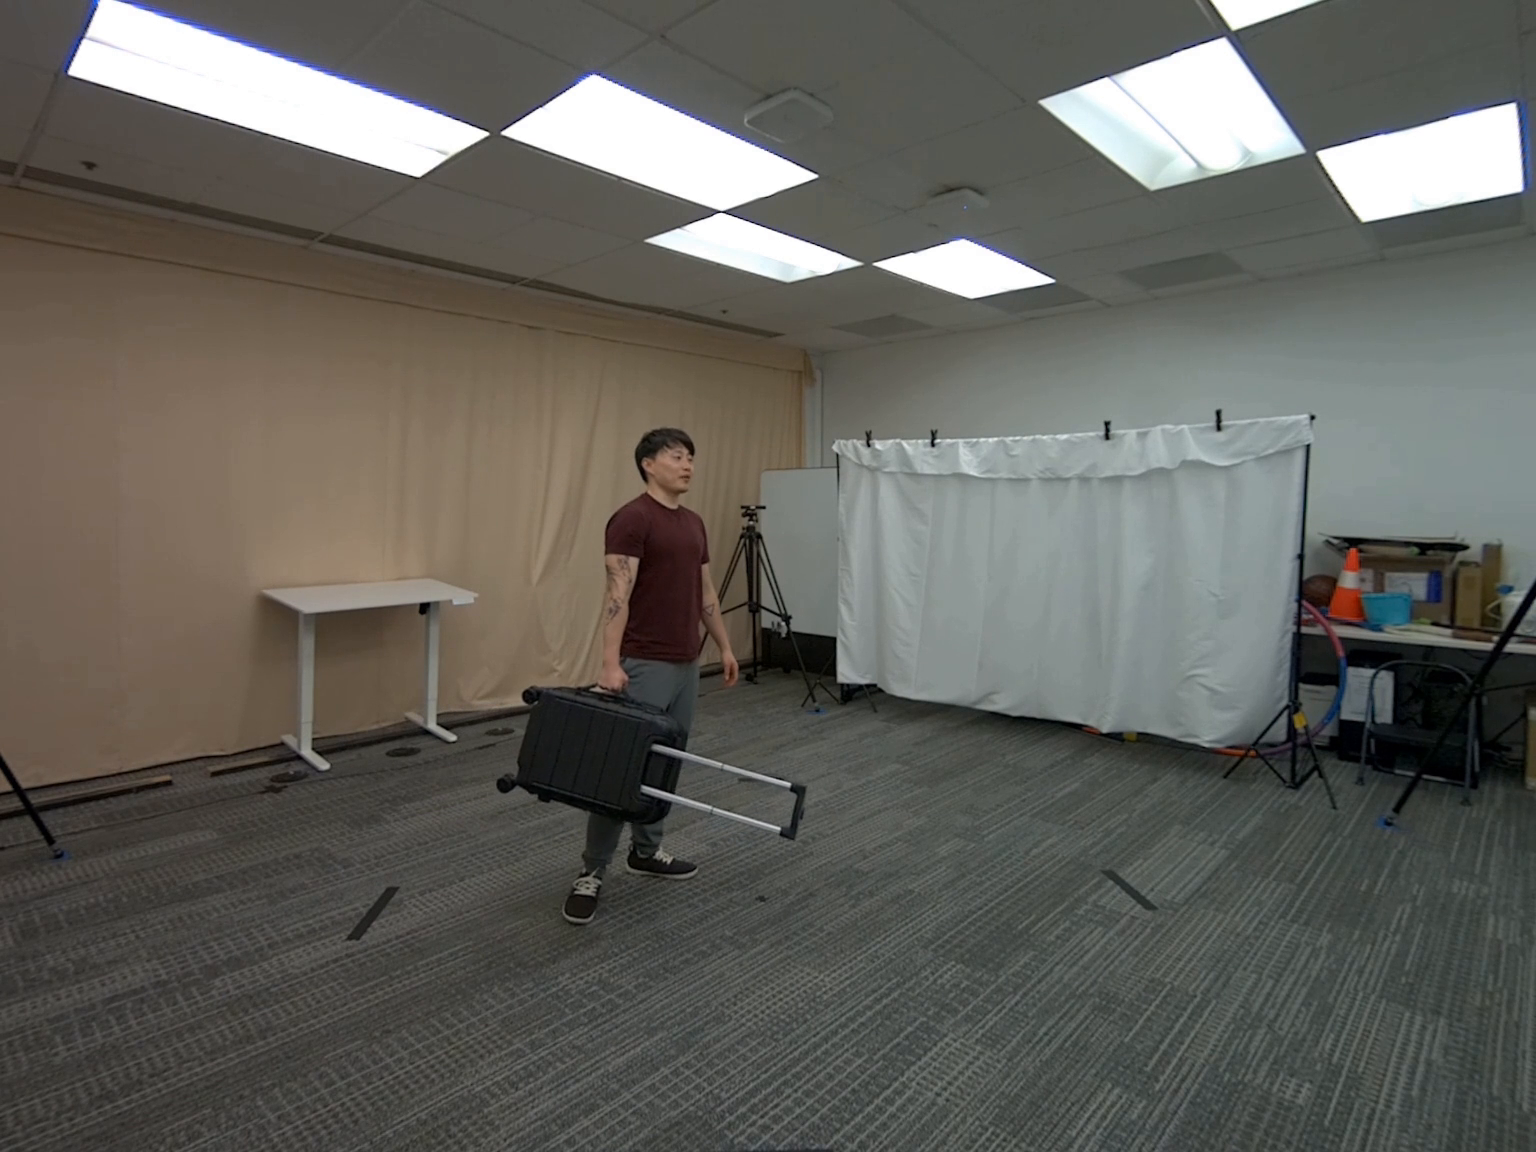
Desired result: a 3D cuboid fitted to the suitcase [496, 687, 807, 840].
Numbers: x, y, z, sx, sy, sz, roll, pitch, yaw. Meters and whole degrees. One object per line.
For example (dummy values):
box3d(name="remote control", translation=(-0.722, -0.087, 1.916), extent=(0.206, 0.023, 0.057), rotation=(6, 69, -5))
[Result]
box3d(name="suitcase", translation=(-0.355, 0.620, 2.717), extent=(0.995, 0.385, 0.252), rotation=(10, -10, 14))
